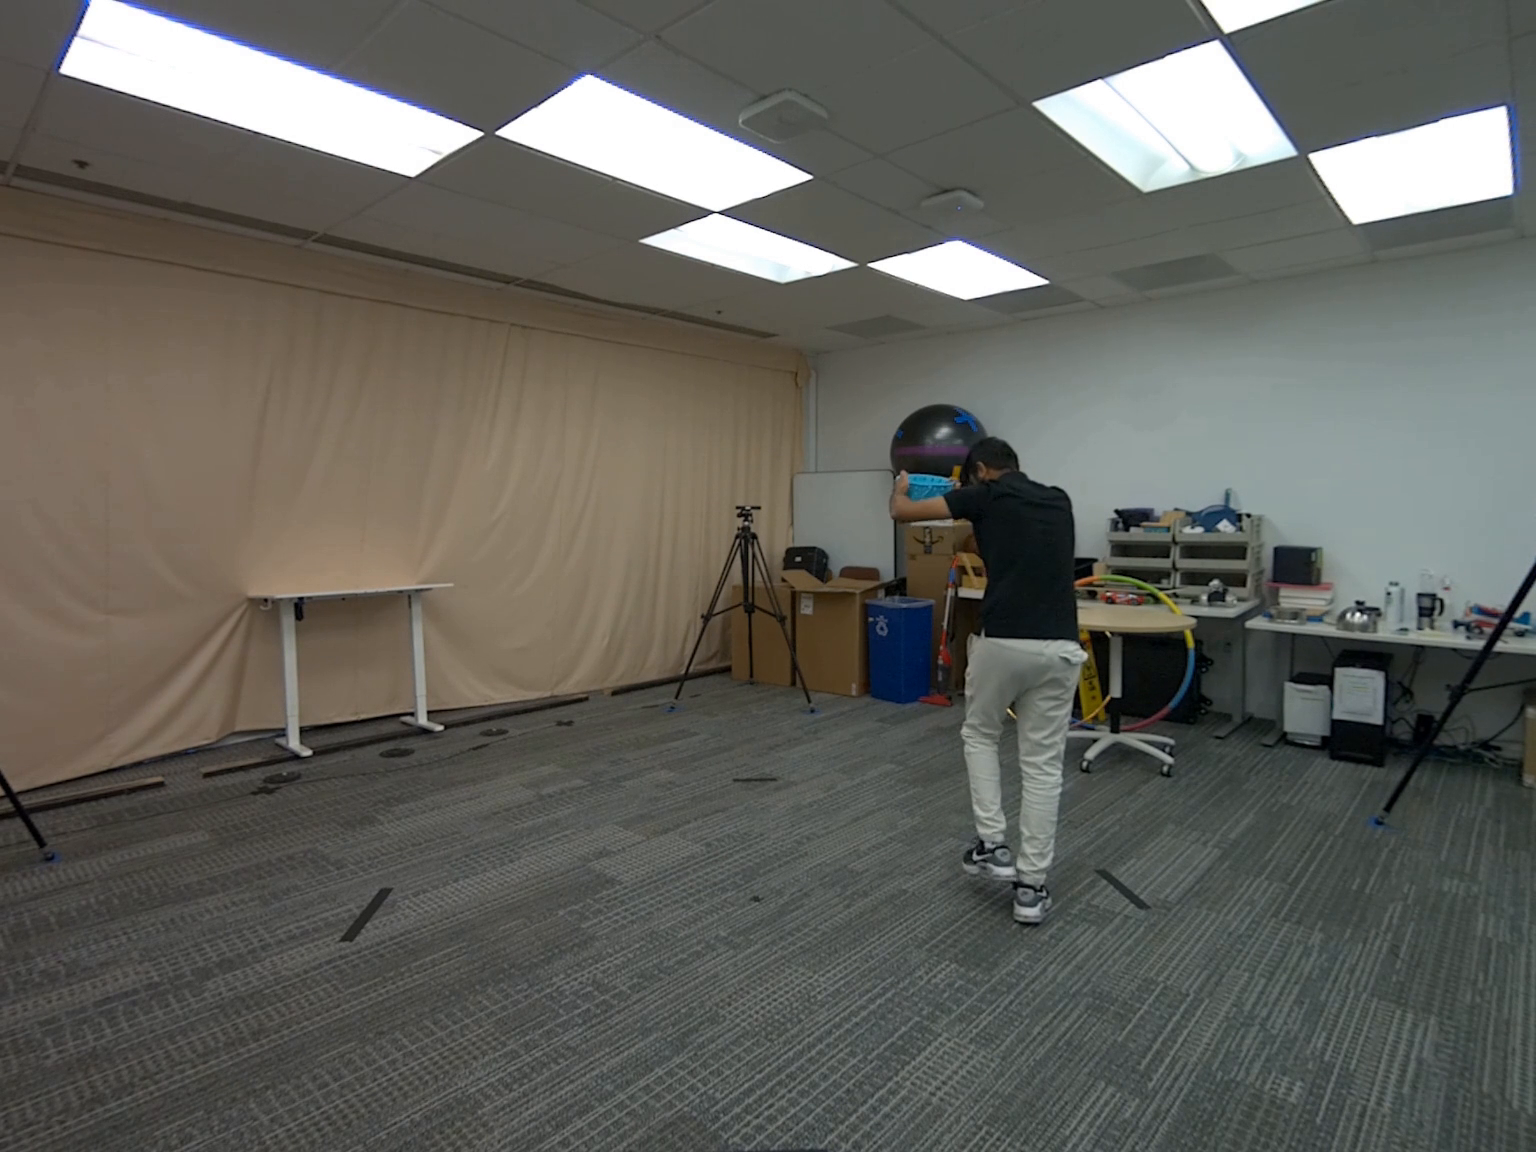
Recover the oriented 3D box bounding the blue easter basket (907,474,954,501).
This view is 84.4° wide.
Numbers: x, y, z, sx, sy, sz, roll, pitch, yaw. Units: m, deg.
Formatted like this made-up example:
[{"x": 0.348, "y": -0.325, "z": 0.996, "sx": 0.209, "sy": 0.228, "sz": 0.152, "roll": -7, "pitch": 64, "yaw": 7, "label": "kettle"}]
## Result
[{"x": 0.666, "y": -0.338, "z": 3.500, "sx": 0.243, "sy": 0.154, "sz": 0.246, "roll": 1, "pitch": 16, "yaw": -2, "label": "blue easter basket"}]
